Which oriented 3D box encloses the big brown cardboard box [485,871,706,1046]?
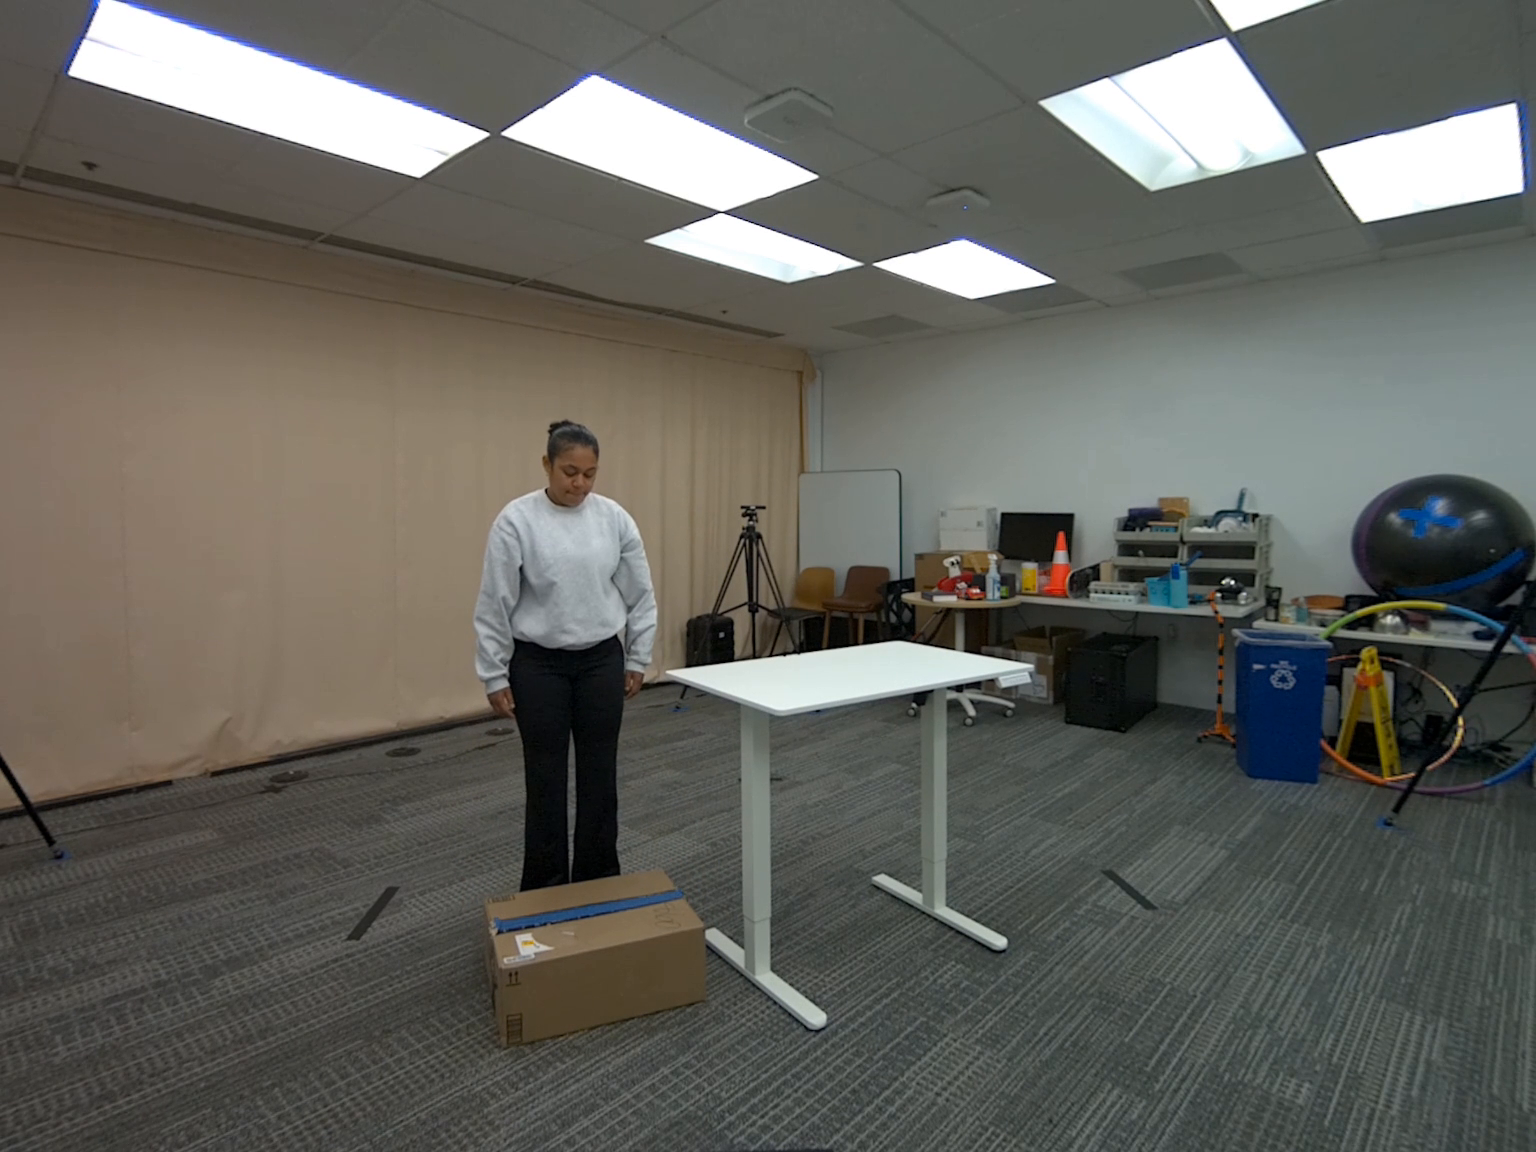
[{"bbox_3d":[-0.514,1.083,2.441,0.576,0.233,0.428,-1,4,-23],"label":"big brown cardboard box"}]
